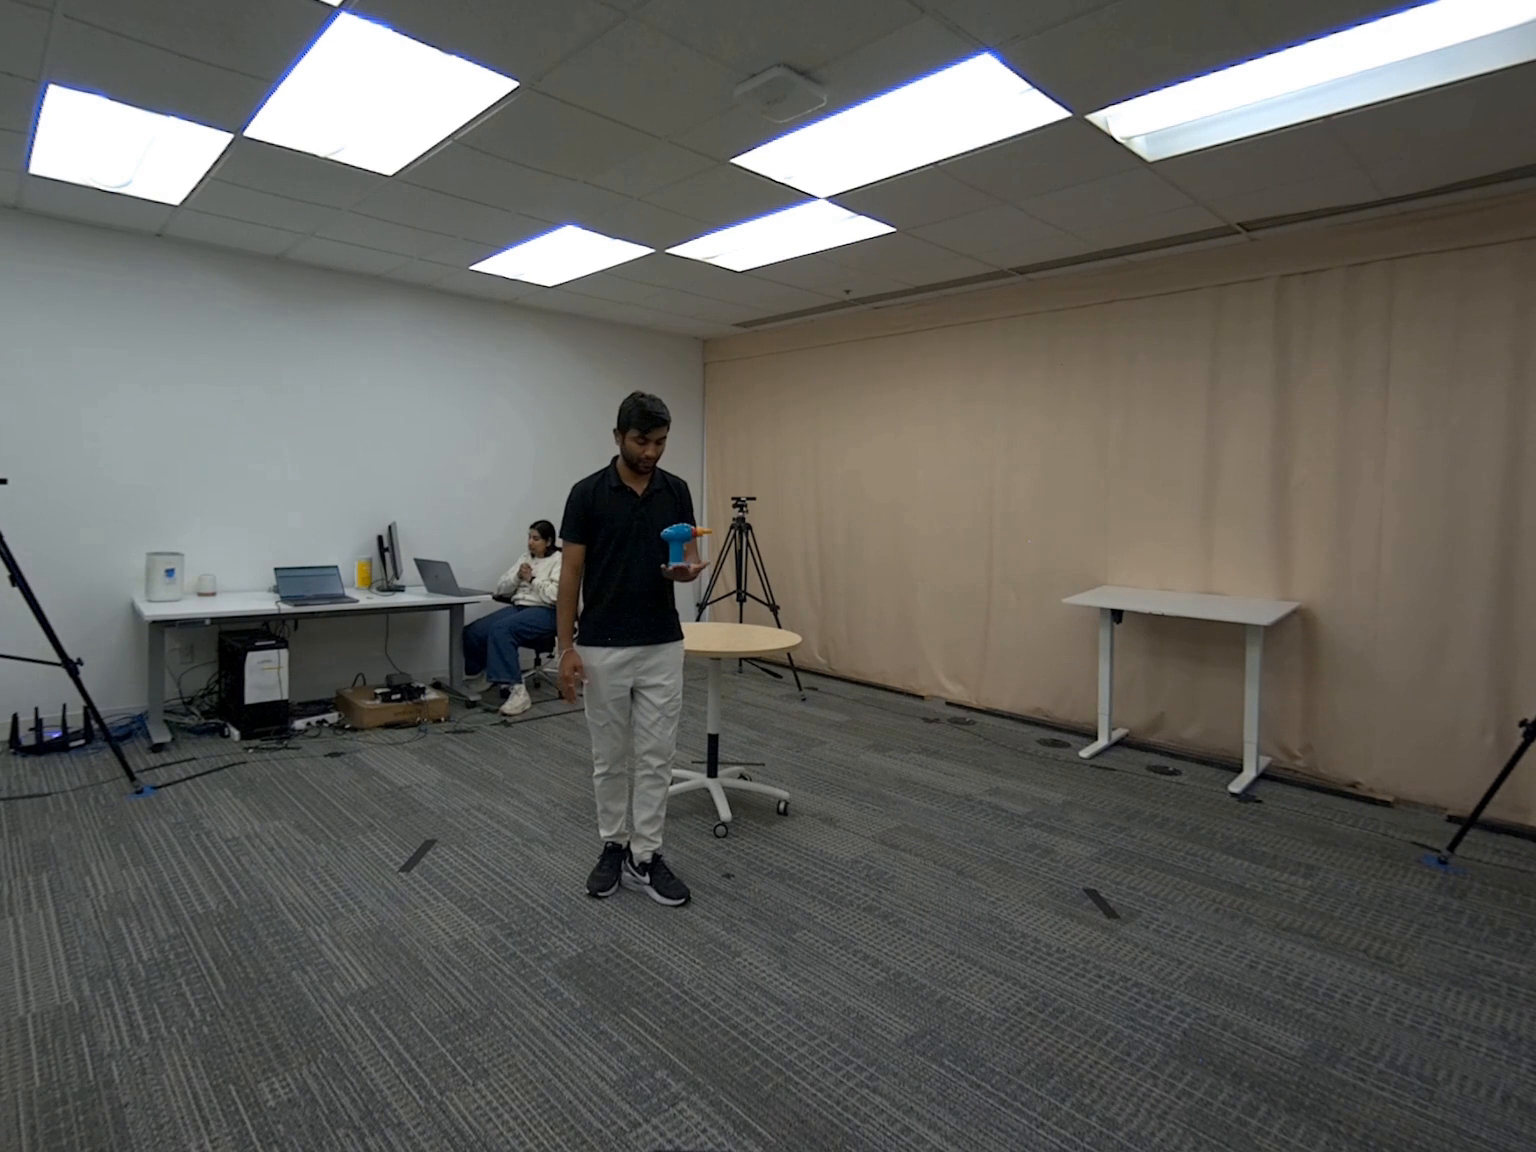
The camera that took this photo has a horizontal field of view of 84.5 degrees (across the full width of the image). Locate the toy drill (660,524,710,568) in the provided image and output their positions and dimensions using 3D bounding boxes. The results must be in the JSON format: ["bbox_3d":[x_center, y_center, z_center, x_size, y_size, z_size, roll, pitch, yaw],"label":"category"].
[{"bbox_3d":[-0.257,-0.098,2.696,0.168,0.145,0.062,-6,8,-11],"label":"toy drill"}]
